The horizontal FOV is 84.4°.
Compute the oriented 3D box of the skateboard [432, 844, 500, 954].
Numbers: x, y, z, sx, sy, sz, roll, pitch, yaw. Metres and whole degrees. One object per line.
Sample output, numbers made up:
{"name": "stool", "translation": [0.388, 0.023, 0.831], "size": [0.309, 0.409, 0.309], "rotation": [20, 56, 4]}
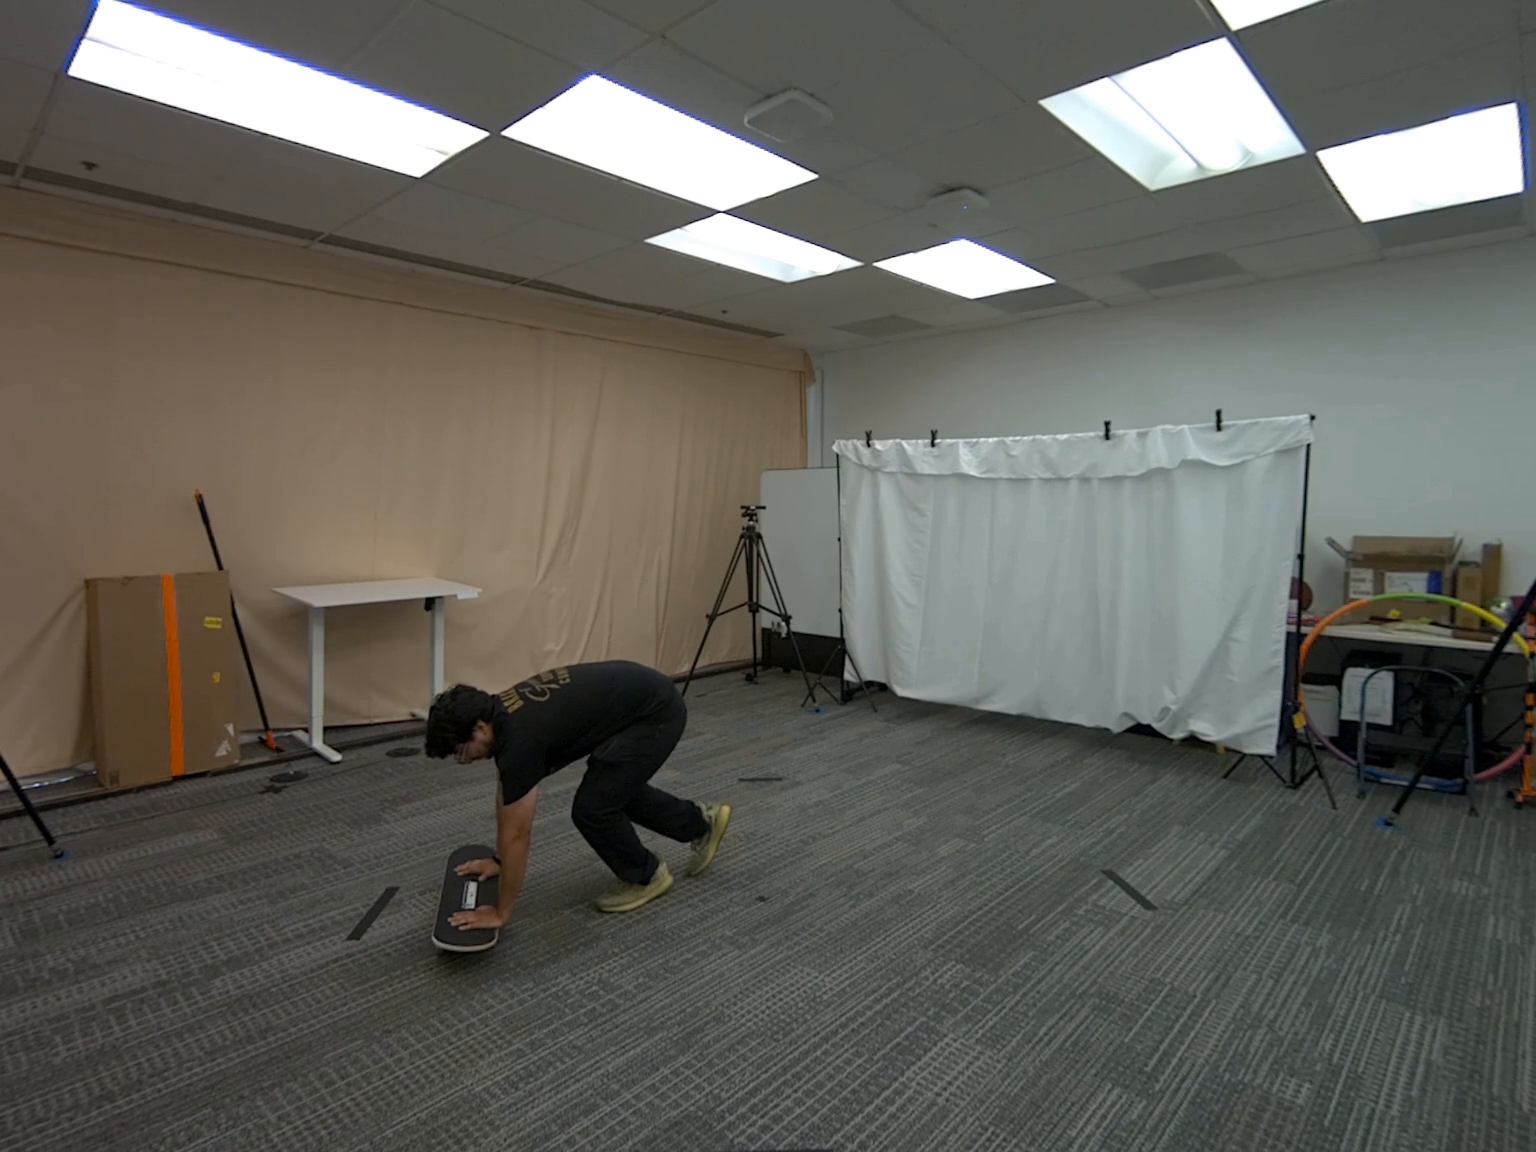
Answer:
{"name": "skateboard", "translation": [-1.011, 1.110, 2.839], "size": [0.190, 0.110, 0.799], "rotation": [5, 3, -16]}
